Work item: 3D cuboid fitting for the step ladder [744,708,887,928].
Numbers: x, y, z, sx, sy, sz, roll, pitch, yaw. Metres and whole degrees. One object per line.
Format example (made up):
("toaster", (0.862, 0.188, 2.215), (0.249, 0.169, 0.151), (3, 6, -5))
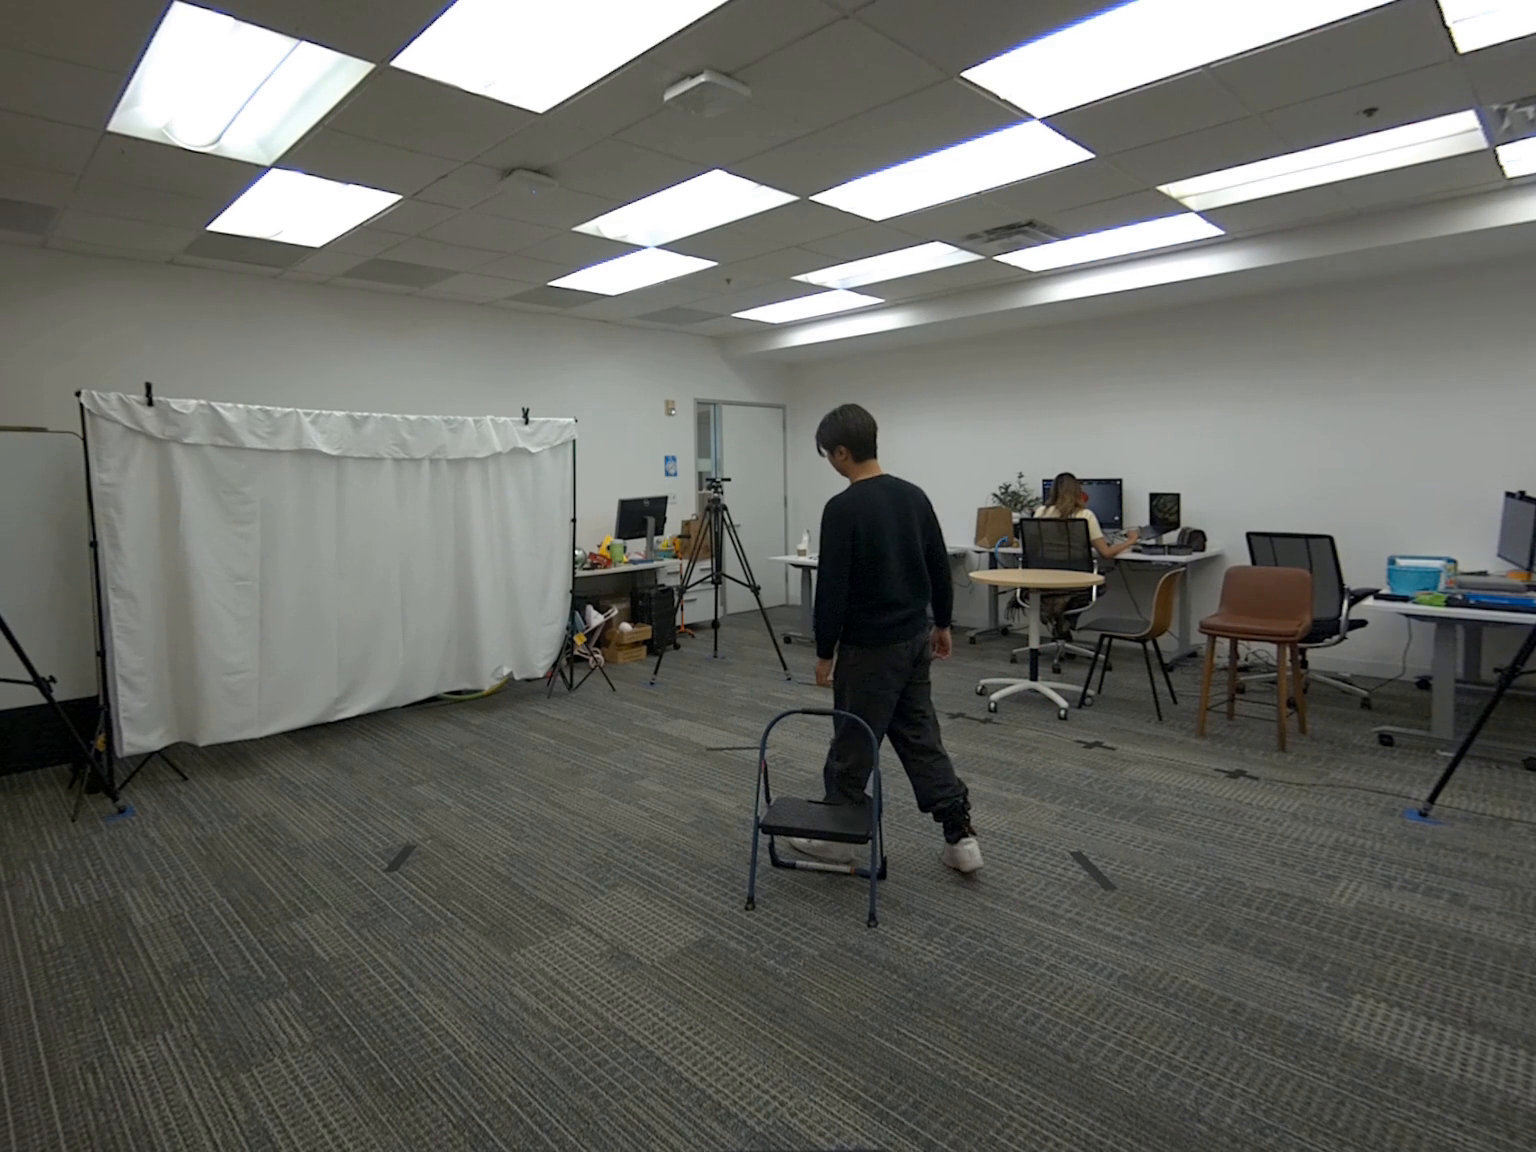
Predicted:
("step ladder", (0.167, 0.764, 2.848), (0.437, 0.604, 0.345), (0, 5, 16))
